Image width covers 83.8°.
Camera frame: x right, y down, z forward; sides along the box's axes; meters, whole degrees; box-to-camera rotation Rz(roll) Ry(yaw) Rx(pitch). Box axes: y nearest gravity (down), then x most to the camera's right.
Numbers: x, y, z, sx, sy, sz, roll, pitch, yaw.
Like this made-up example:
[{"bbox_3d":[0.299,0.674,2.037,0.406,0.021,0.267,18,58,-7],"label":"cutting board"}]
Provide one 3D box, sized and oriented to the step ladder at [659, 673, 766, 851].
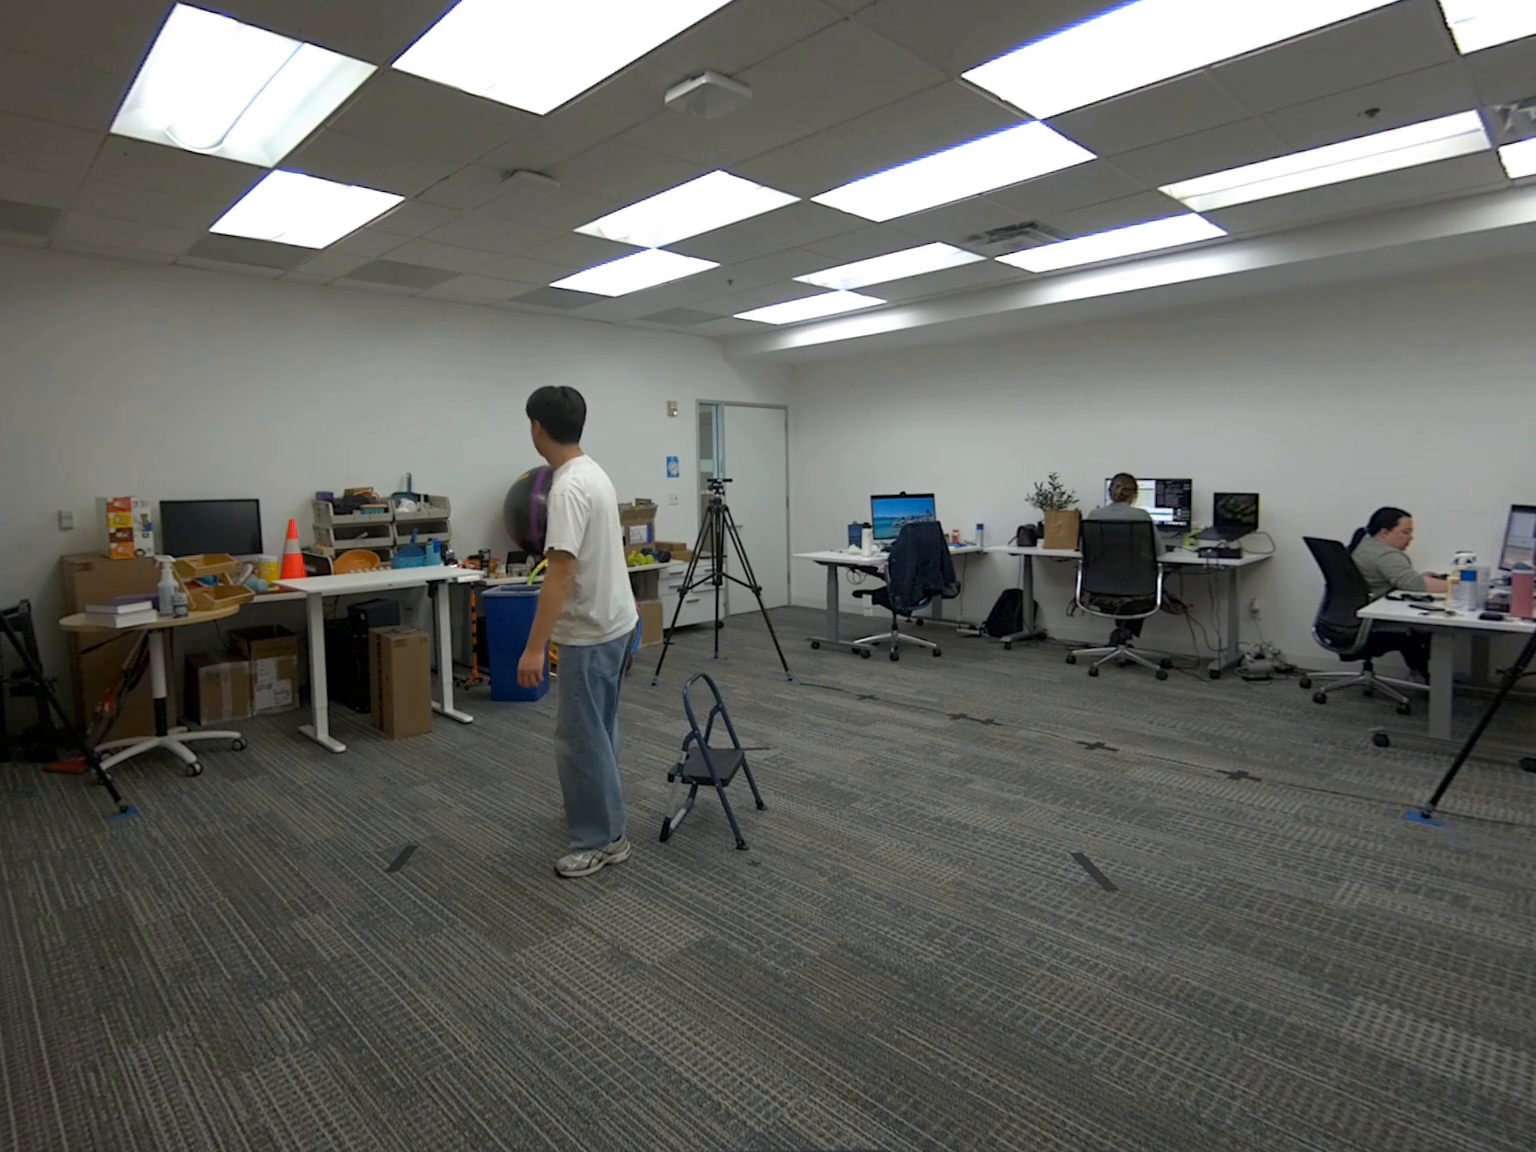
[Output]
[{"bbox_3d":[-0.220,0.709,3.449,0.354,0.604,0.427,-1,4,12],"label":"step ladder"}]
